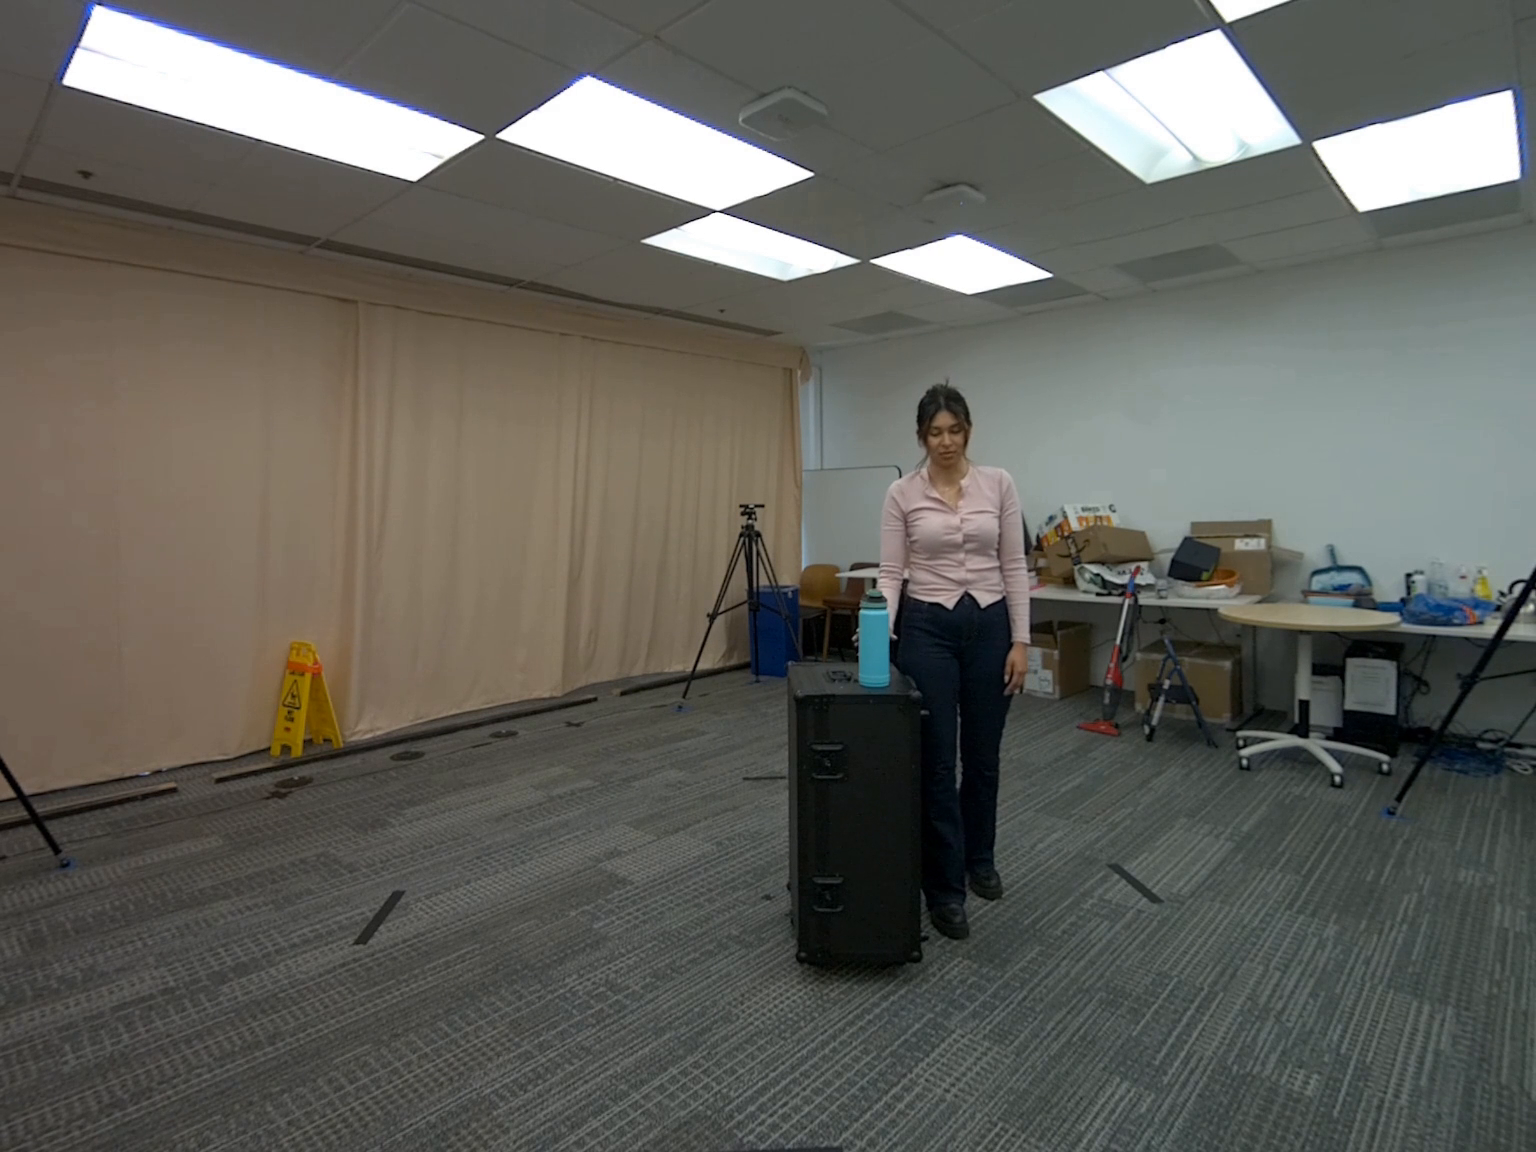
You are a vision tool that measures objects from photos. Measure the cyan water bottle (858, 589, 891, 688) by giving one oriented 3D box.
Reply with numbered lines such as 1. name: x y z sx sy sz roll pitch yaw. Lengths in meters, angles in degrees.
1. cyan water bottle: 0.321 0.184 2.506 0.092 0.283 0.092 -4 0 -2
